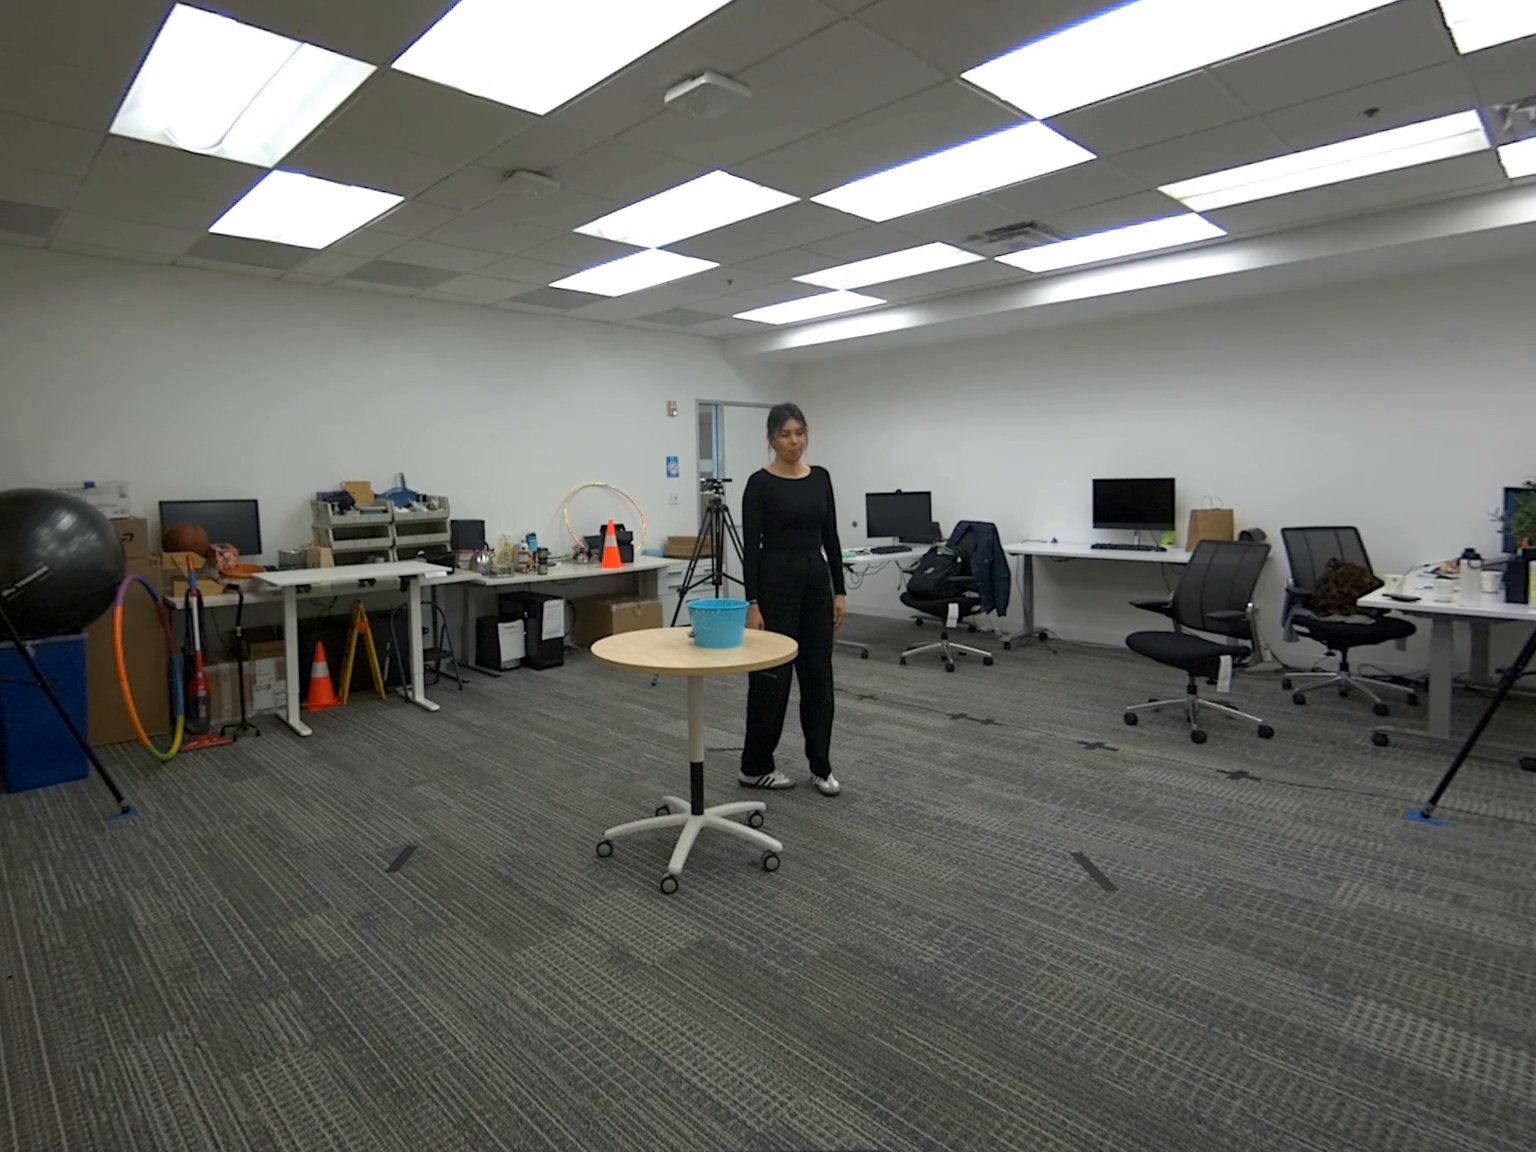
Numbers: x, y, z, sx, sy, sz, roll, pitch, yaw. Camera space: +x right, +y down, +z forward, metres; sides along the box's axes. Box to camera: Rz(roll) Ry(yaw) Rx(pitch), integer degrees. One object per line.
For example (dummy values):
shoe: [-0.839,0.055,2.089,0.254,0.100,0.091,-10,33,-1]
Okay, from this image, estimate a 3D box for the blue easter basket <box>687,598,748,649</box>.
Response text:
blue easter basket: [-0.191,0.180,3.195,0.243,0.155,0.245,0,5,-2]
